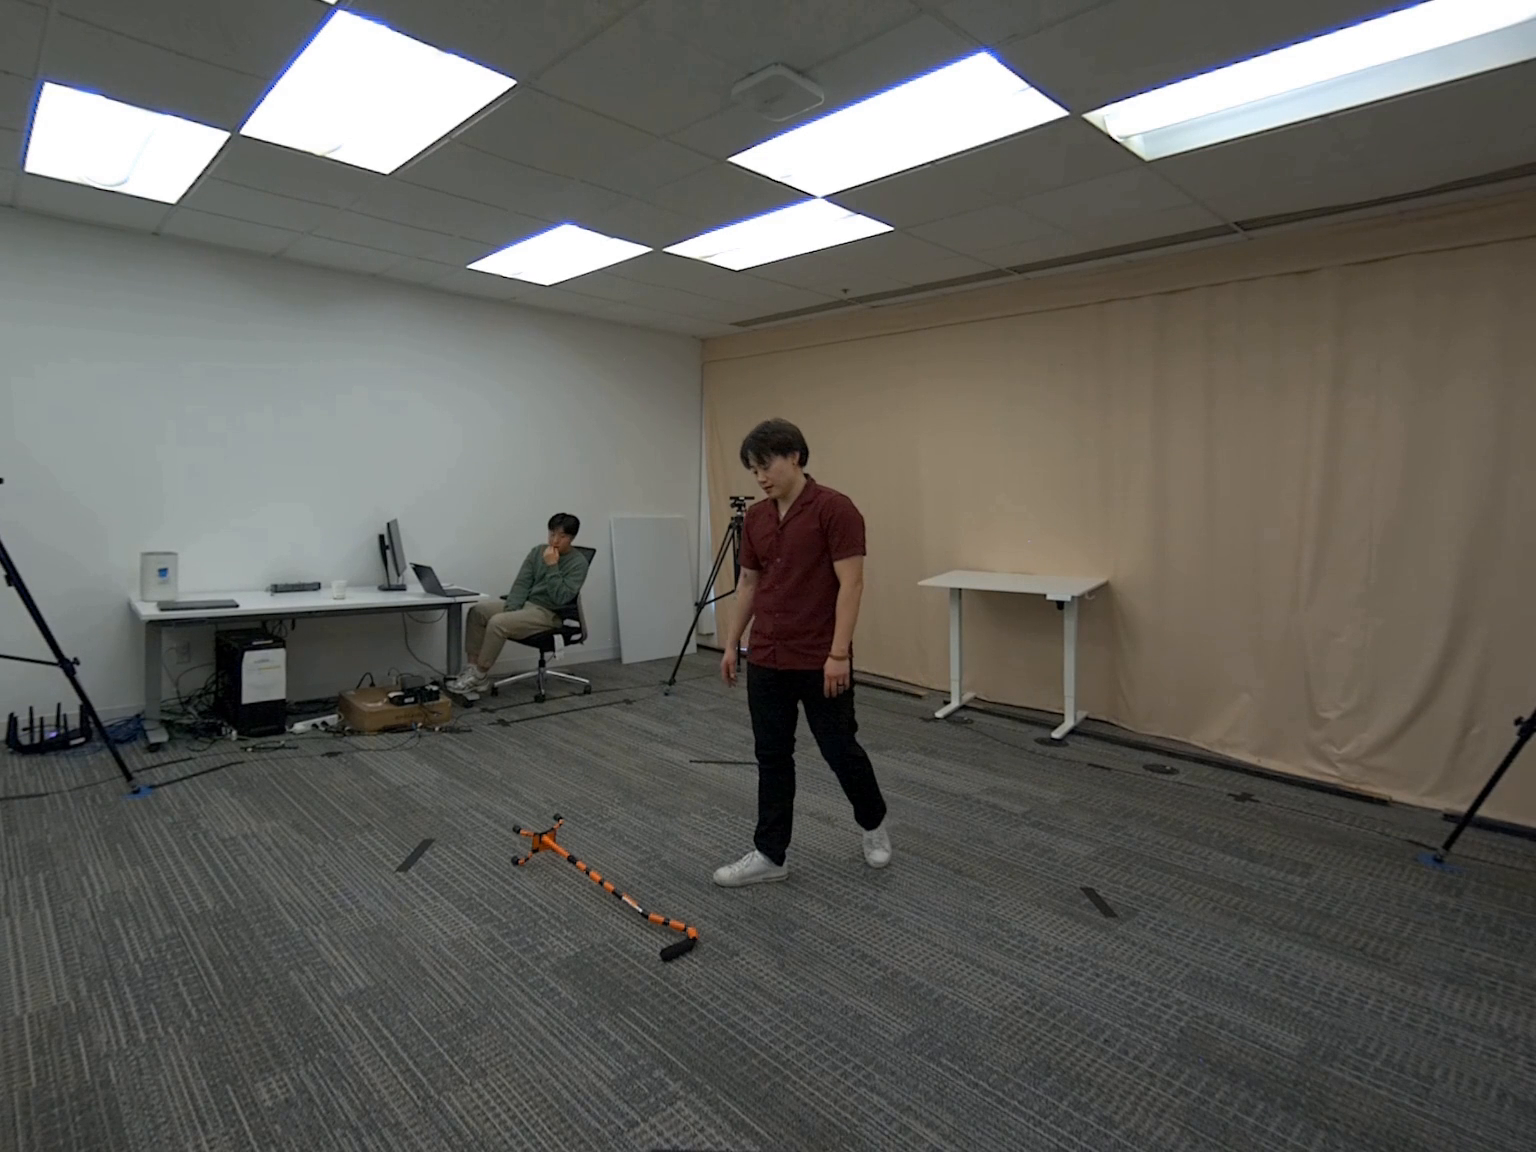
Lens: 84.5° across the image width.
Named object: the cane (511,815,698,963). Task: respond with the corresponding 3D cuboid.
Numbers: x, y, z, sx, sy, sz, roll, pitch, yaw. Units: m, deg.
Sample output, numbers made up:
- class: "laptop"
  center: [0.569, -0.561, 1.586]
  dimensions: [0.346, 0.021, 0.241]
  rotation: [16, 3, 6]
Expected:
- class: "cane"
  center: [-0.569, 1.069, 2.891]
  dimensions: [0.202, 0.151, 0.933]
  rotation: [-3, 11, -44]
